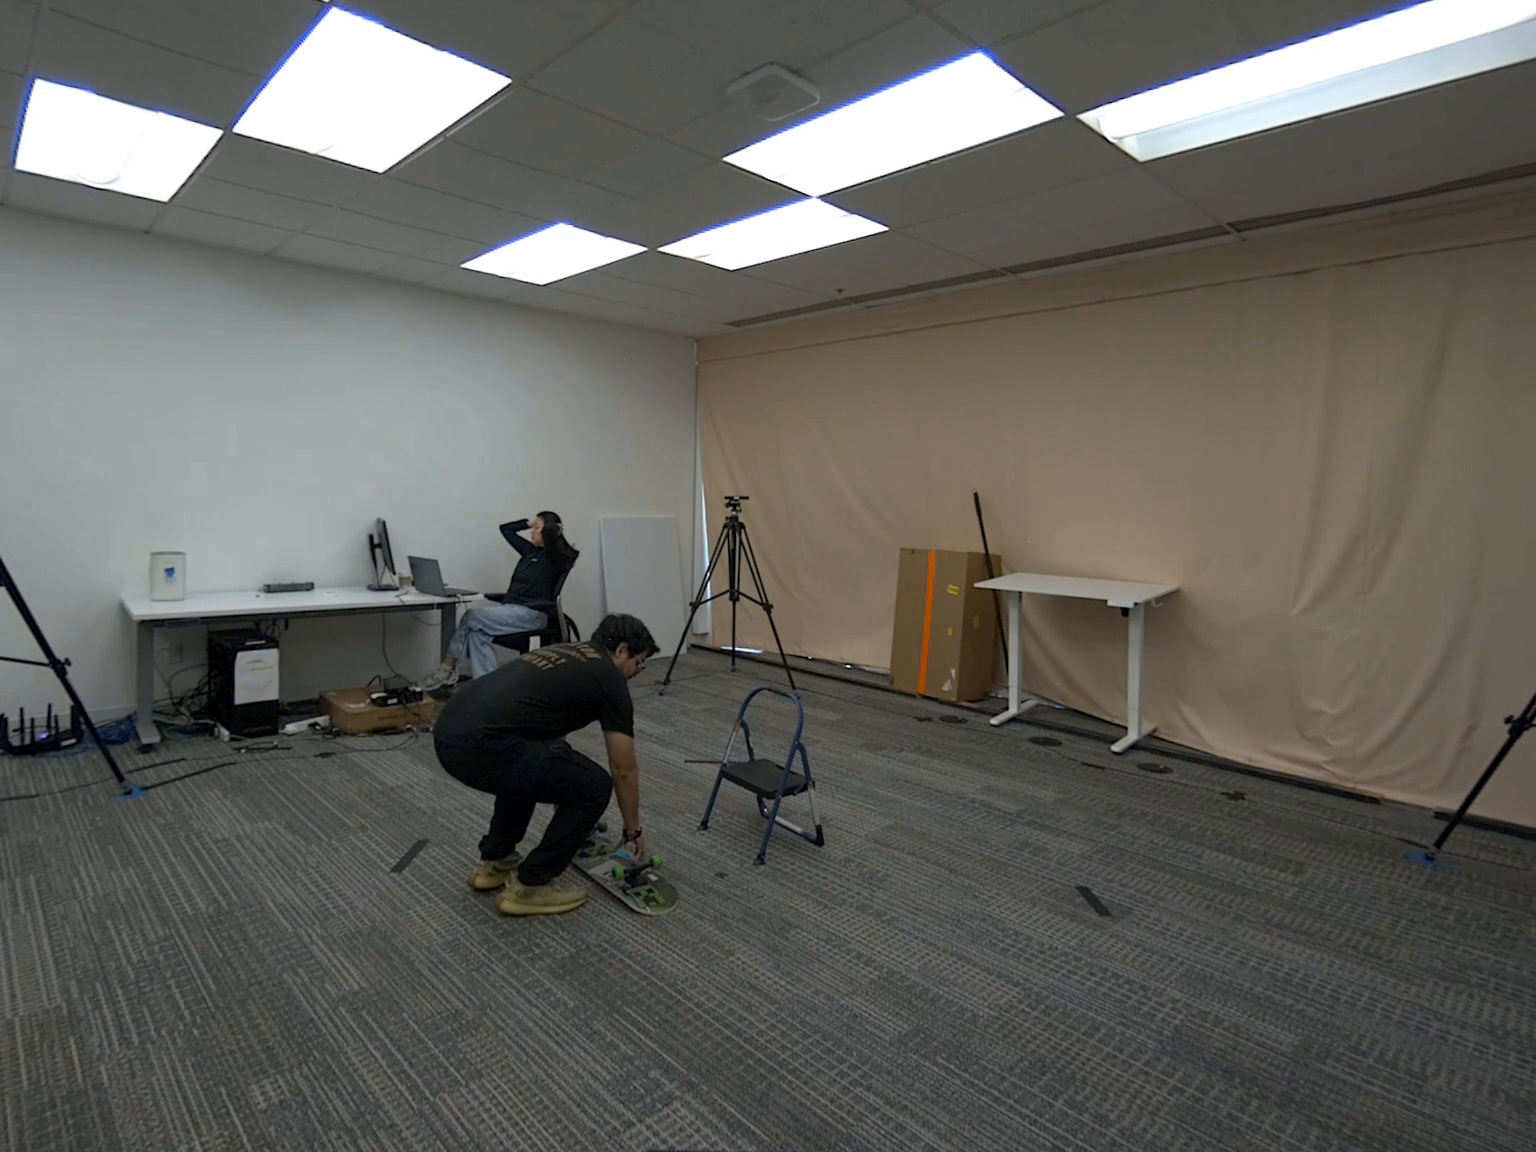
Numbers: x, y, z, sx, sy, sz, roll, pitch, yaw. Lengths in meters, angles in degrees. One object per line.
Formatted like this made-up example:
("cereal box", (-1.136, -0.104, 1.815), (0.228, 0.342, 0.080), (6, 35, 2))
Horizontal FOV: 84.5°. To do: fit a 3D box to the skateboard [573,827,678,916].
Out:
("skateboard", (-0.601, 1.046, 3.121), (0.189, 0.110, 0.805), (-2, 6, -38))
